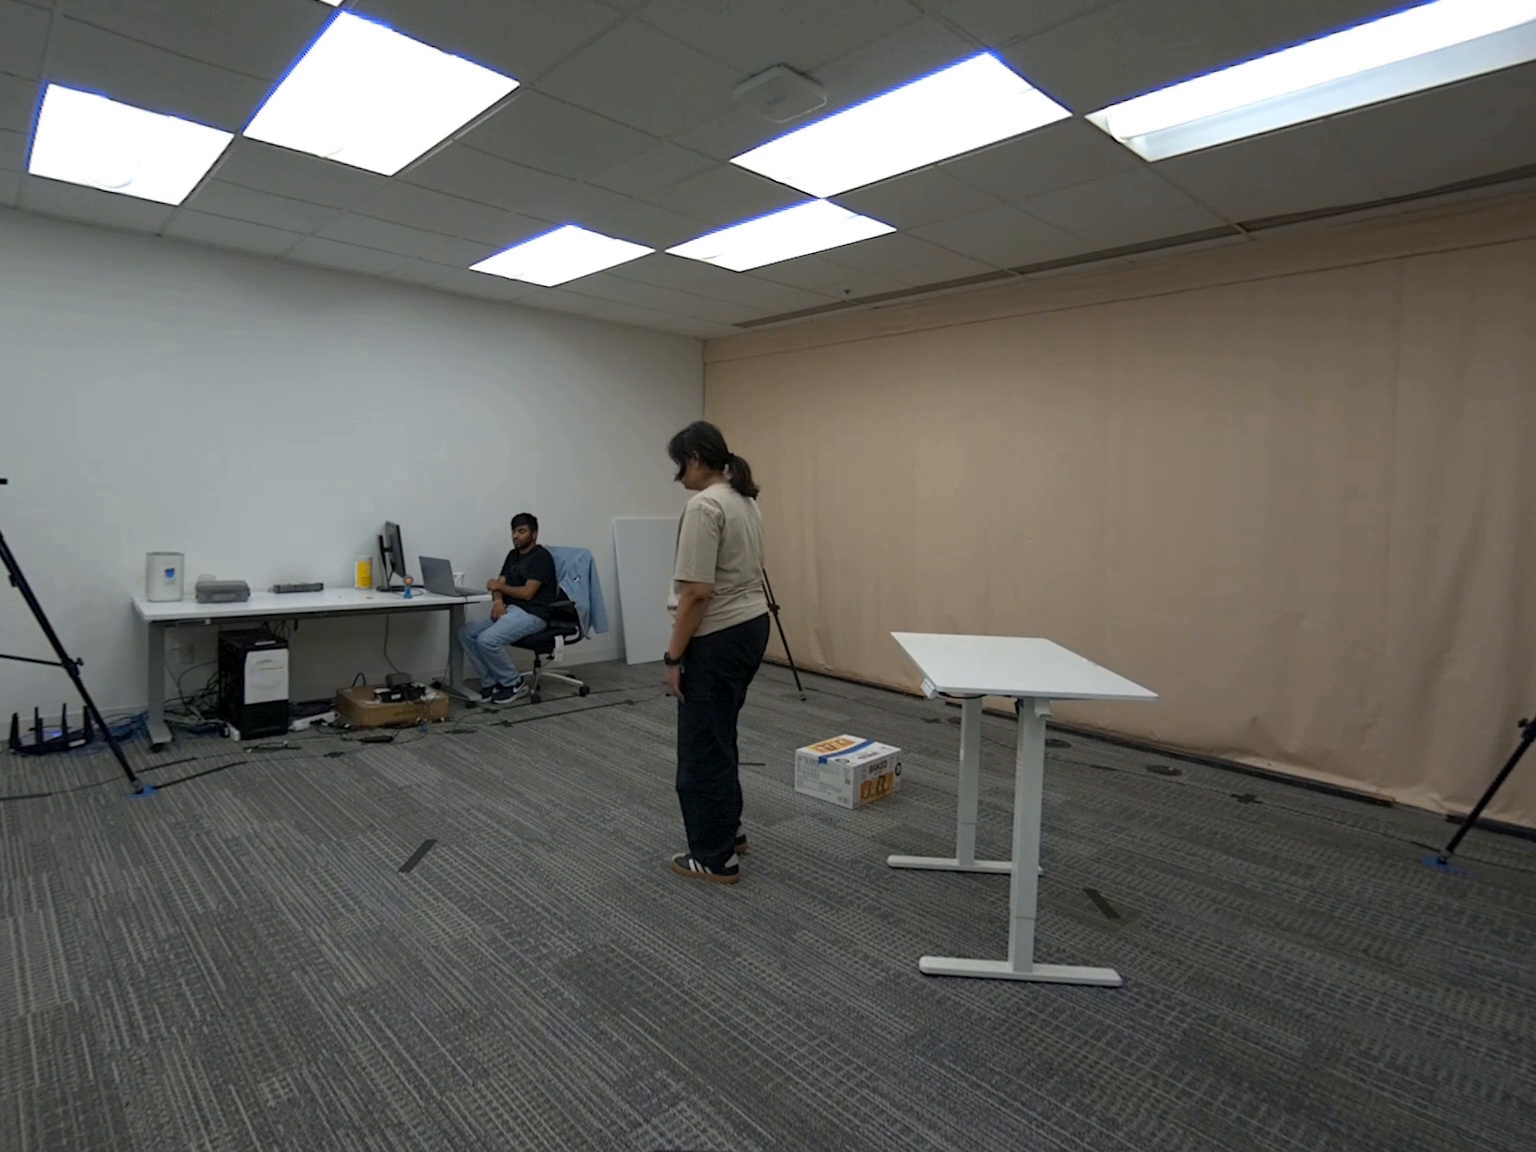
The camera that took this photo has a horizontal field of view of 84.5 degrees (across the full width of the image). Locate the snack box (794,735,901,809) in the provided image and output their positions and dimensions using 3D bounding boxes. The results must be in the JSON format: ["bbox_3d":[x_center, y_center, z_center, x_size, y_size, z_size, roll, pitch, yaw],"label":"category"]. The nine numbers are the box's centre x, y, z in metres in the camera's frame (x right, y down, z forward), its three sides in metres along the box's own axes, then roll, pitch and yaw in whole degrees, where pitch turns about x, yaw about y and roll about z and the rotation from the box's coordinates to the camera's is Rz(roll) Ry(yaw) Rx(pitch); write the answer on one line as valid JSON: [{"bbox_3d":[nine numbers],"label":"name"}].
[{"bbox_3d":[0.377,0.937,4.064,0.349,0.205,0.396,5,6,42],"label":"snack box"}]
